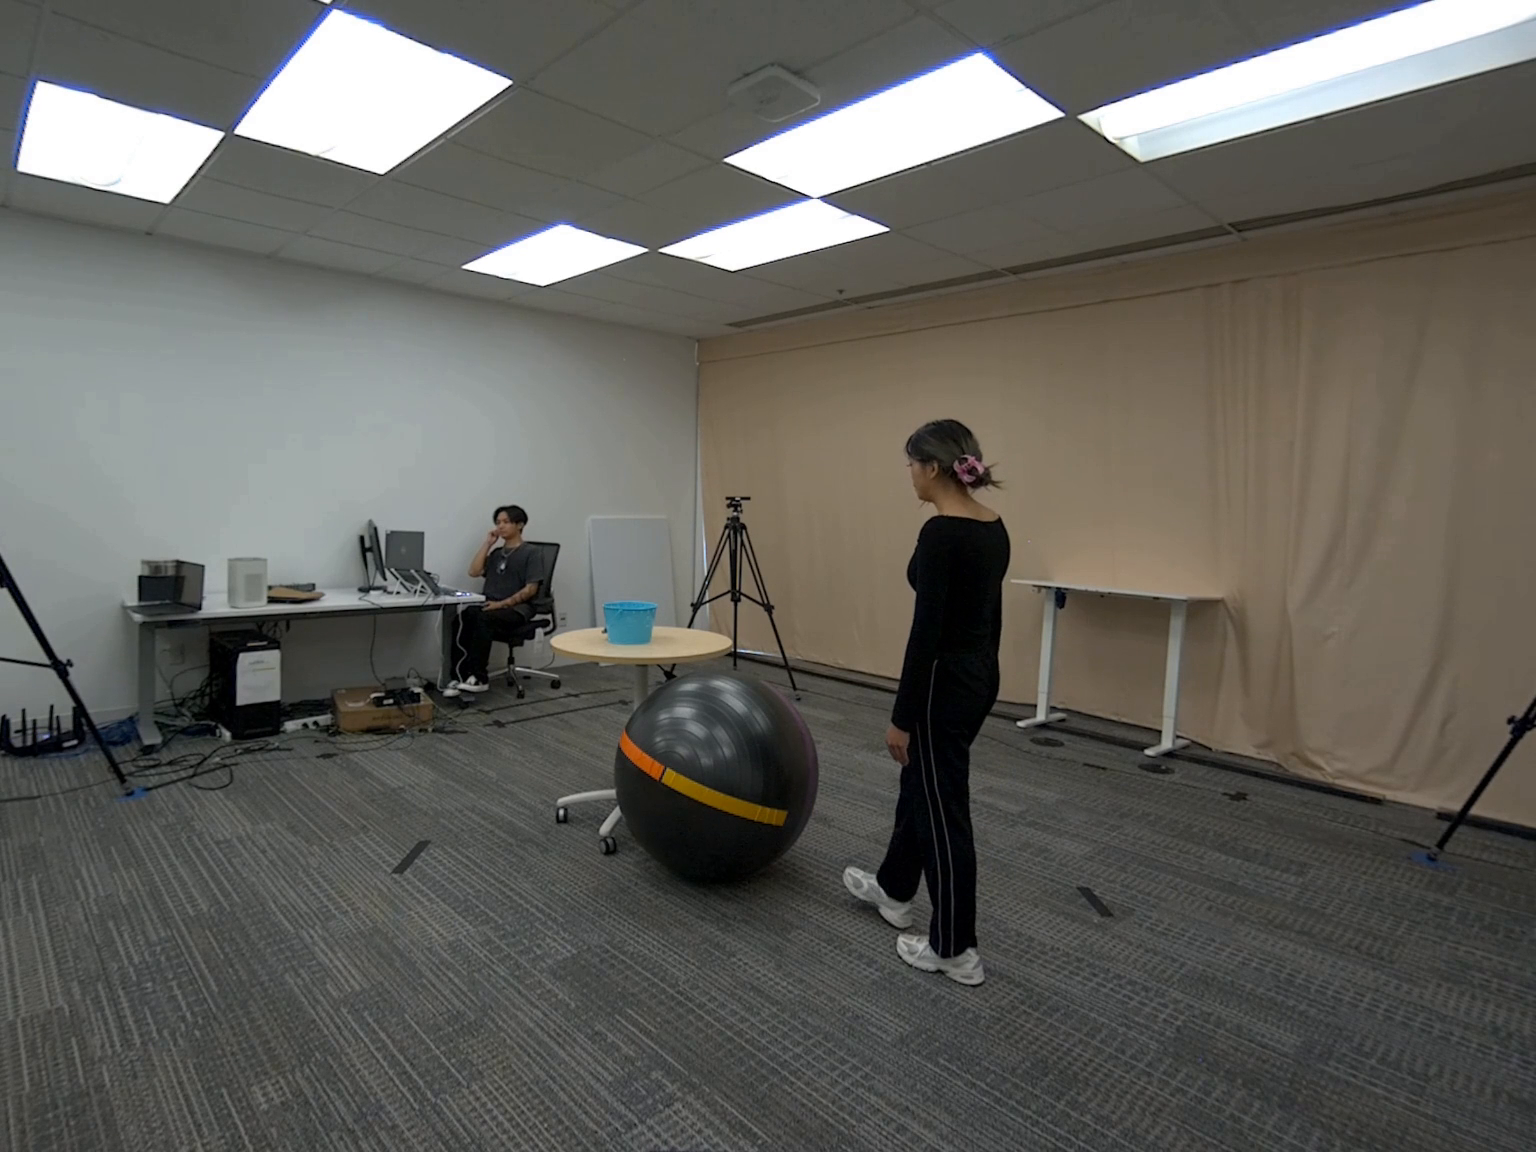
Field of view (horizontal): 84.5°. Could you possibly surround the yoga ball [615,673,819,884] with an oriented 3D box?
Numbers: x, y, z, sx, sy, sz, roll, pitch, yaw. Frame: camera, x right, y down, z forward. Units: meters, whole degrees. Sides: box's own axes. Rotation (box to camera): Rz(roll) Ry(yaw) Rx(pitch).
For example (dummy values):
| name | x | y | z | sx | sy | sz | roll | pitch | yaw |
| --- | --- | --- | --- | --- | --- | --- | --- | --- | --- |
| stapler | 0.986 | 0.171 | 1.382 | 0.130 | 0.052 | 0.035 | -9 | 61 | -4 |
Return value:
| name | x | y | z | sx | sy | sz | roll | pitch | yaw |
| --- | --- | --- | --- | --- | --- | --- | --- | --- | --- |
| yoga ball | -0.196 | 0.734 | 3.143 | 0.757 | 0.756 | 0.761 | 1 | 4 | -1 |
